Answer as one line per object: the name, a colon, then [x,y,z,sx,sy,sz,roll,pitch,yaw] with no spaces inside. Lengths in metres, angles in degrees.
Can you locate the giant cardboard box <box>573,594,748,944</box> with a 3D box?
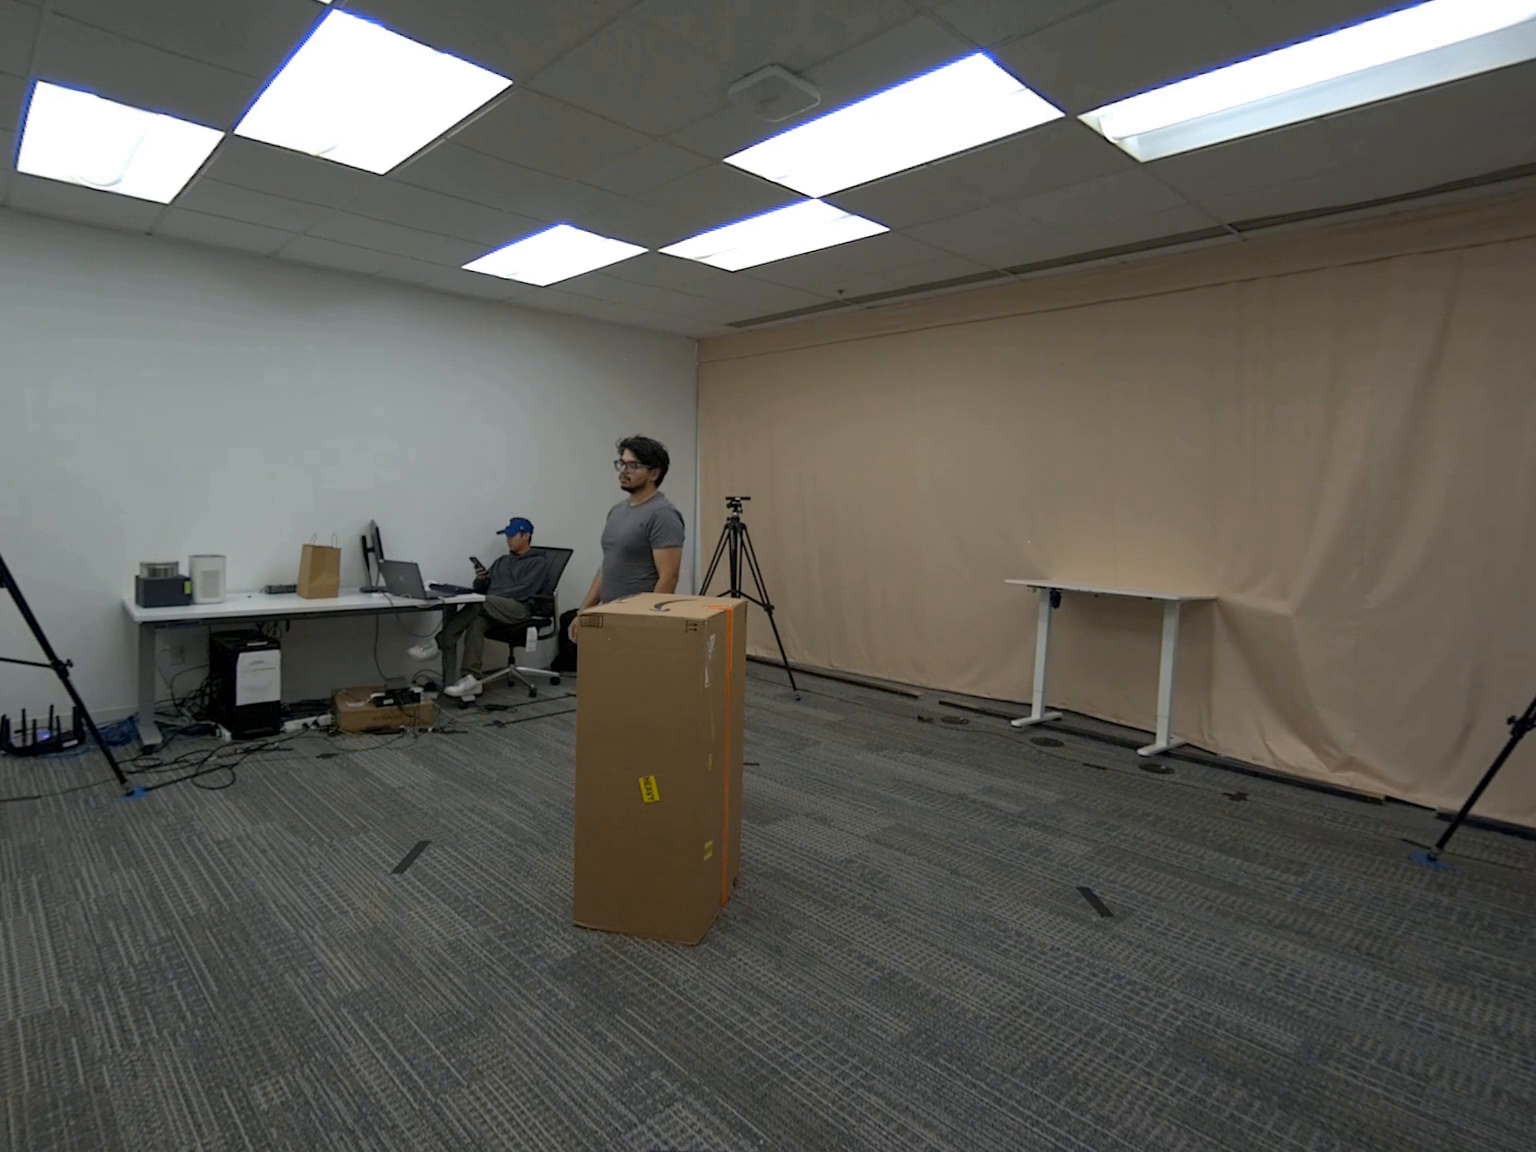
giant cardboard box: [-0.352,0.607,2.912,0.431,1.024,0.571,3,3,14]
